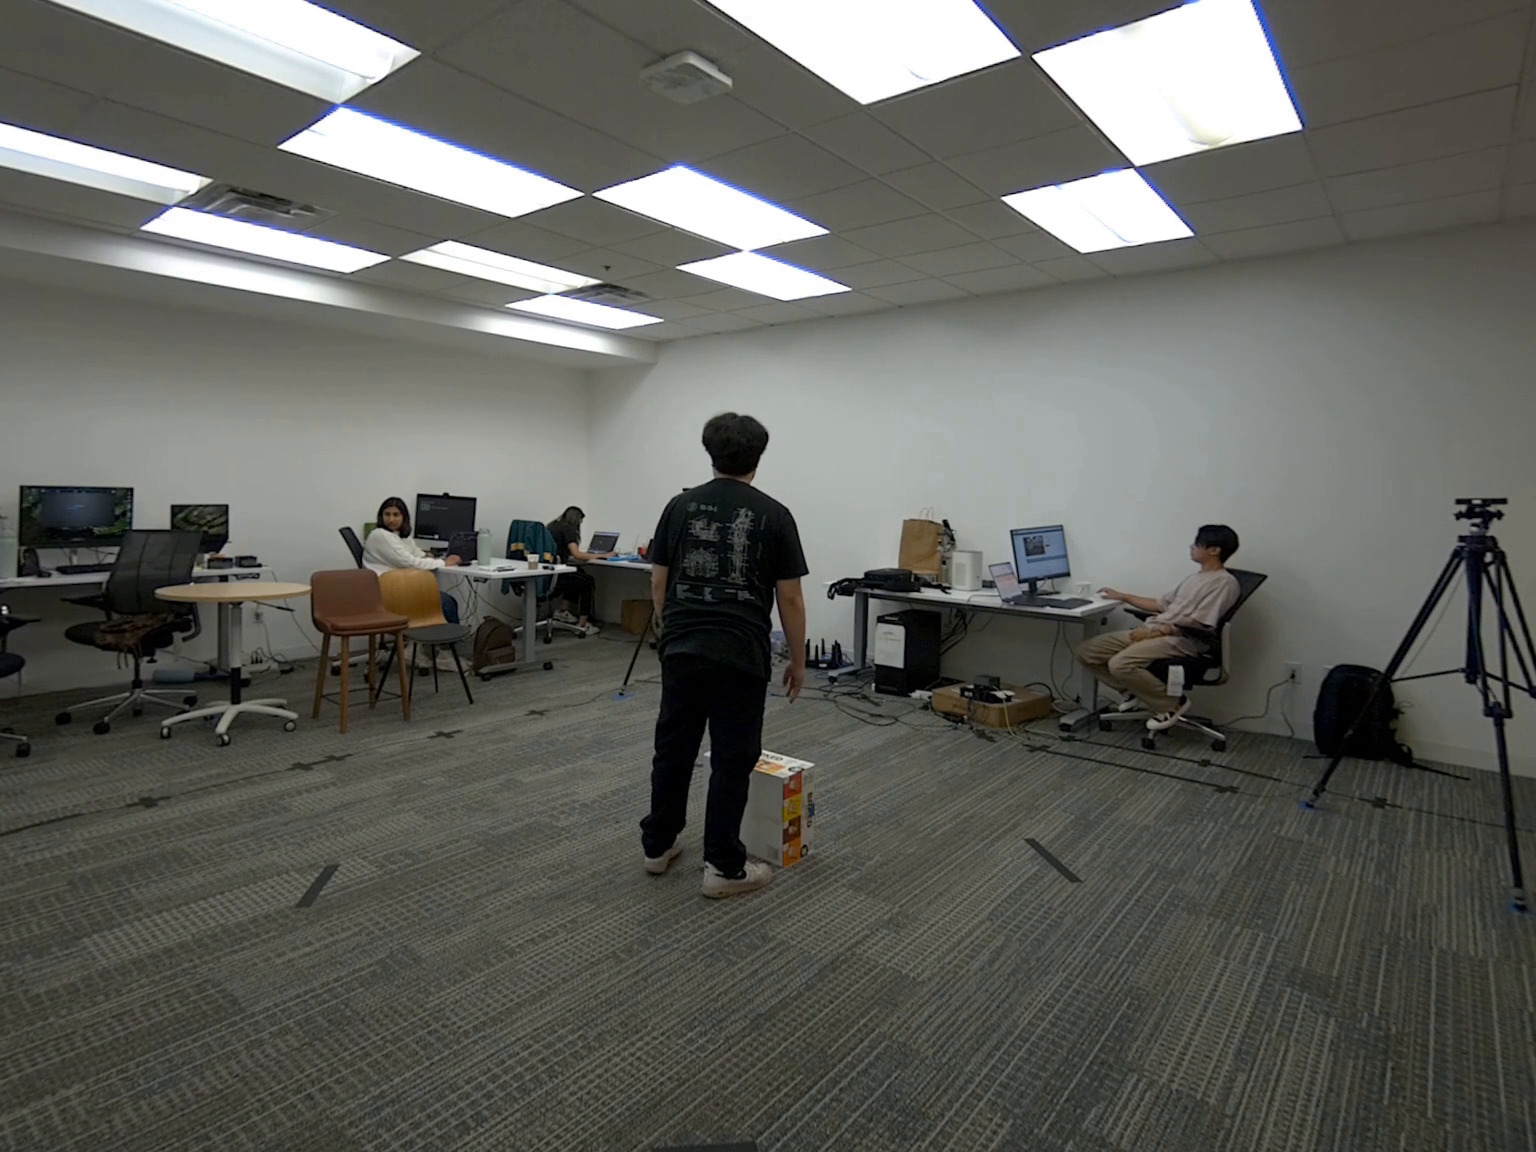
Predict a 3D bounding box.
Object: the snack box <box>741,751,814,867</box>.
[{"bbox_3d":[-0.049,0.880,3.331,0.419,0.339,0.199,5,5,39],"label":"snack box"}]
